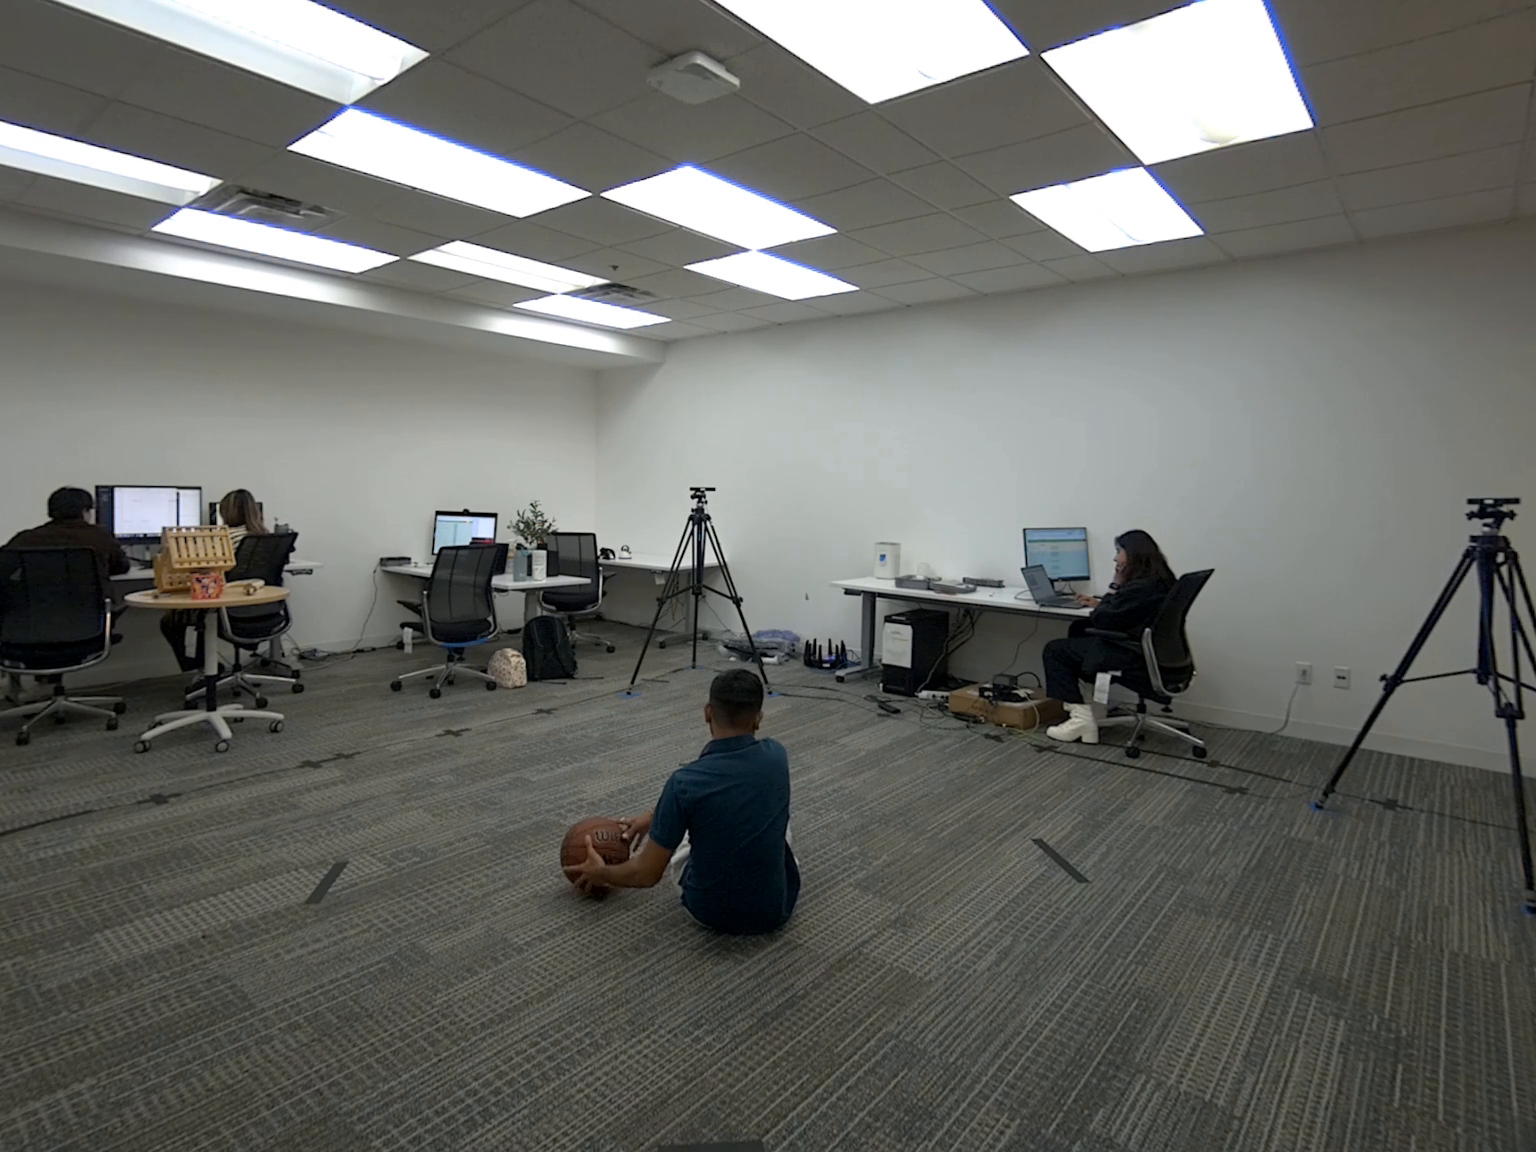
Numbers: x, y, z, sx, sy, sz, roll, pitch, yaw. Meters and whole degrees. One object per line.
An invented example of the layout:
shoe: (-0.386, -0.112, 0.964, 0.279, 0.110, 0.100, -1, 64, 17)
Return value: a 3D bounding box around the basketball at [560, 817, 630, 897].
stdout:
basketball: (-0.610, 0.920, 2.938, 0.235, 0.235, 0.237, 1, 4, -2)
